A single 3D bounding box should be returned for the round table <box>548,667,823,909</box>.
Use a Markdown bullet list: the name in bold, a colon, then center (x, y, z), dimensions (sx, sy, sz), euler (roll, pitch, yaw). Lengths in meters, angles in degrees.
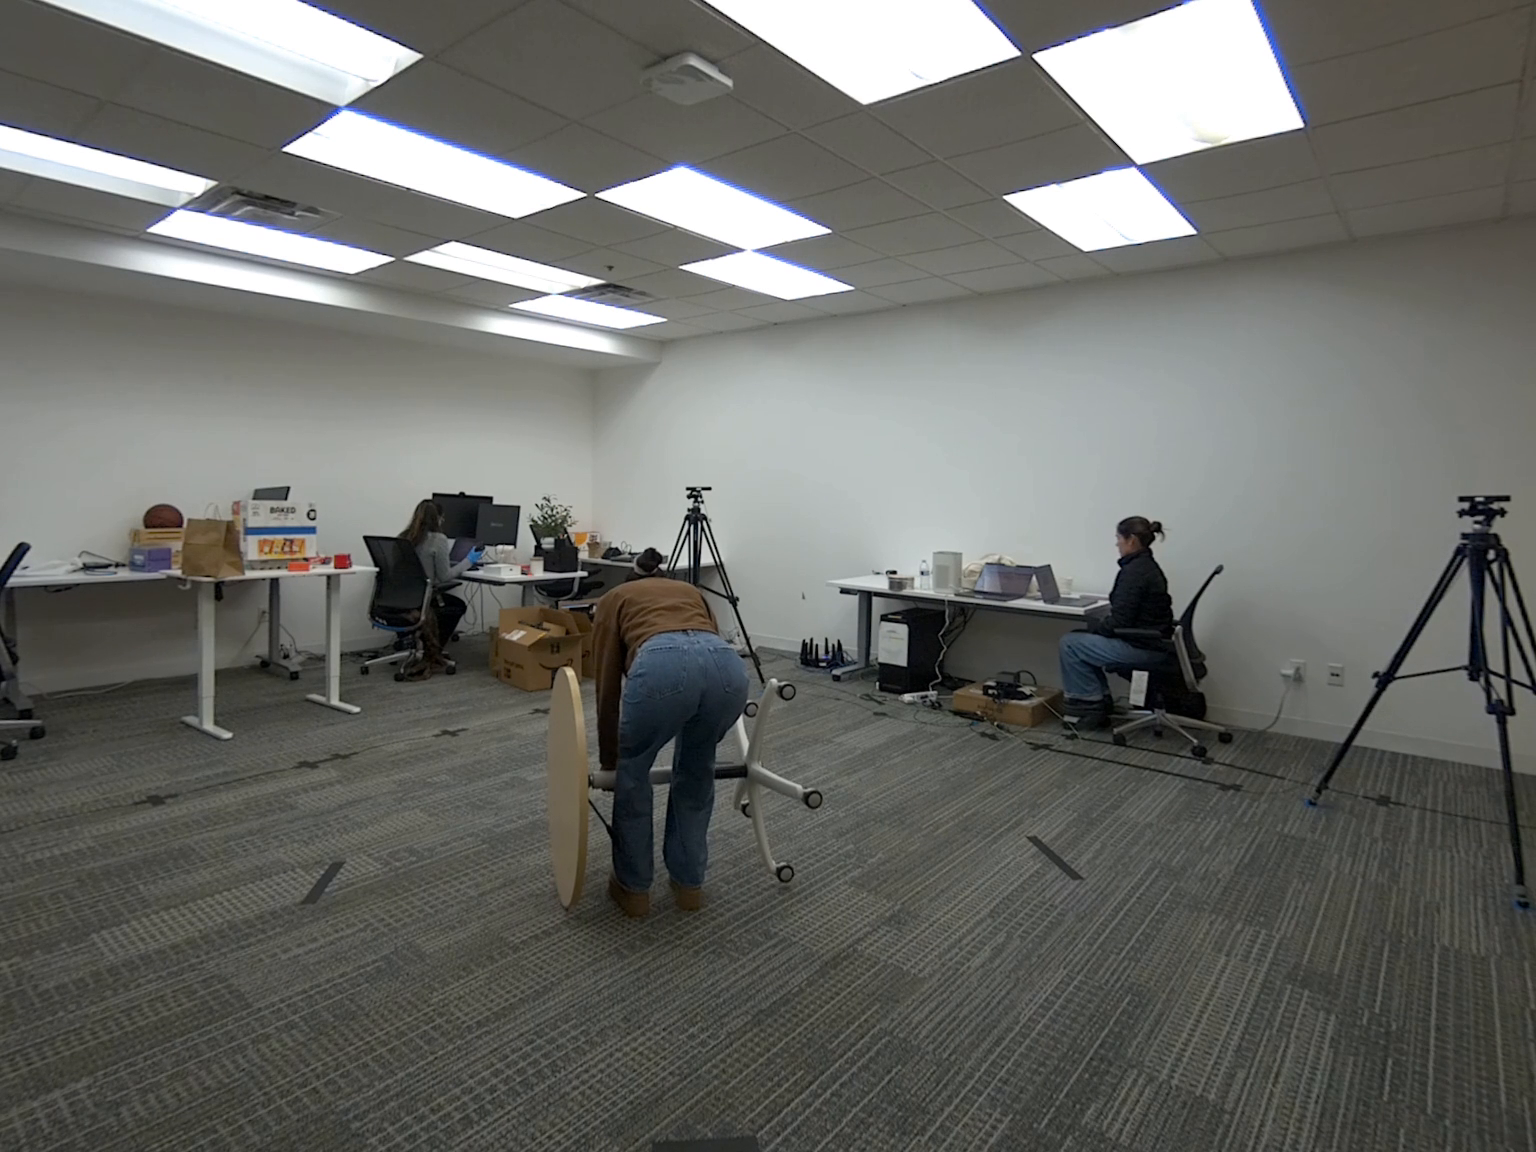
- **round table**: center (-0.325, 0.700, 2.970), dimensions (0.778, 0.762, 0.781), euler (2, 3, -20)
